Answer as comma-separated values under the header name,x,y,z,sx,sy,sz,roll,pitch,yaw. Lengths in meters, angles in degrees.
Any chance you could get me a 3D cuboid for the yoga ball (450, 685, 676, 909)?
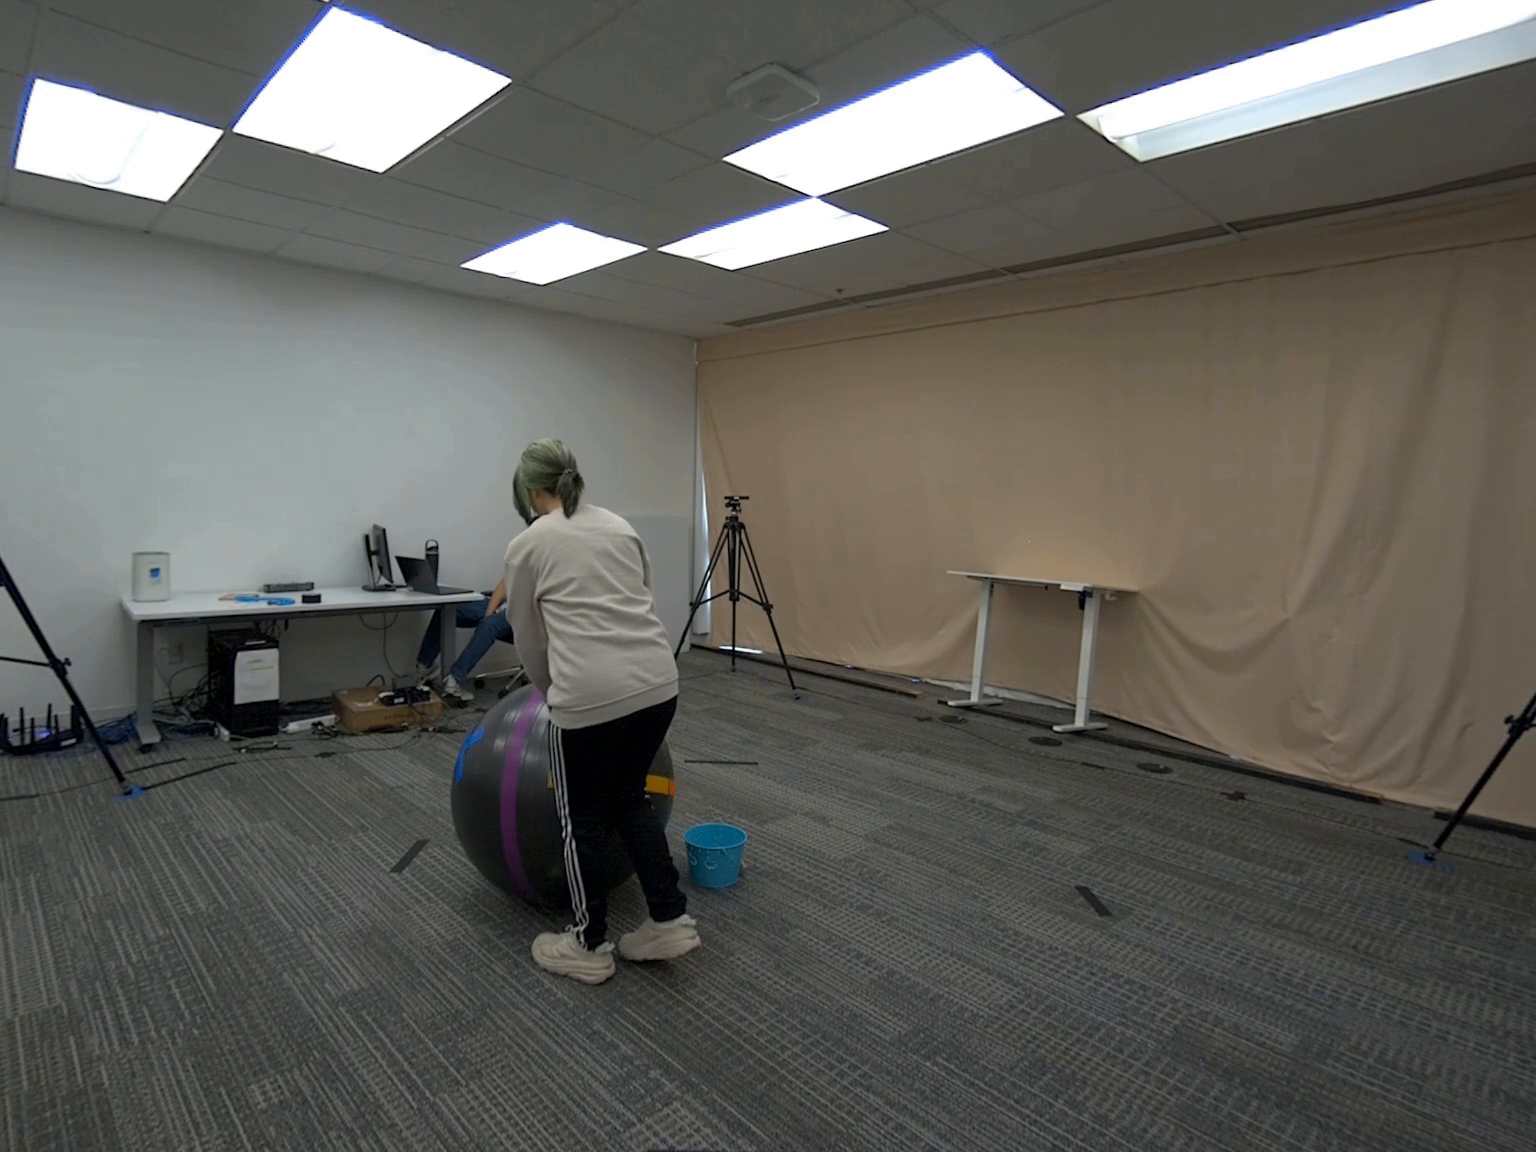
name,x,y,z,sx,sy,sz,roll,pitch,yaw
yoga ball,-0.712,0.740,2.925,0.757,0.756,0.761,1,4,-1
